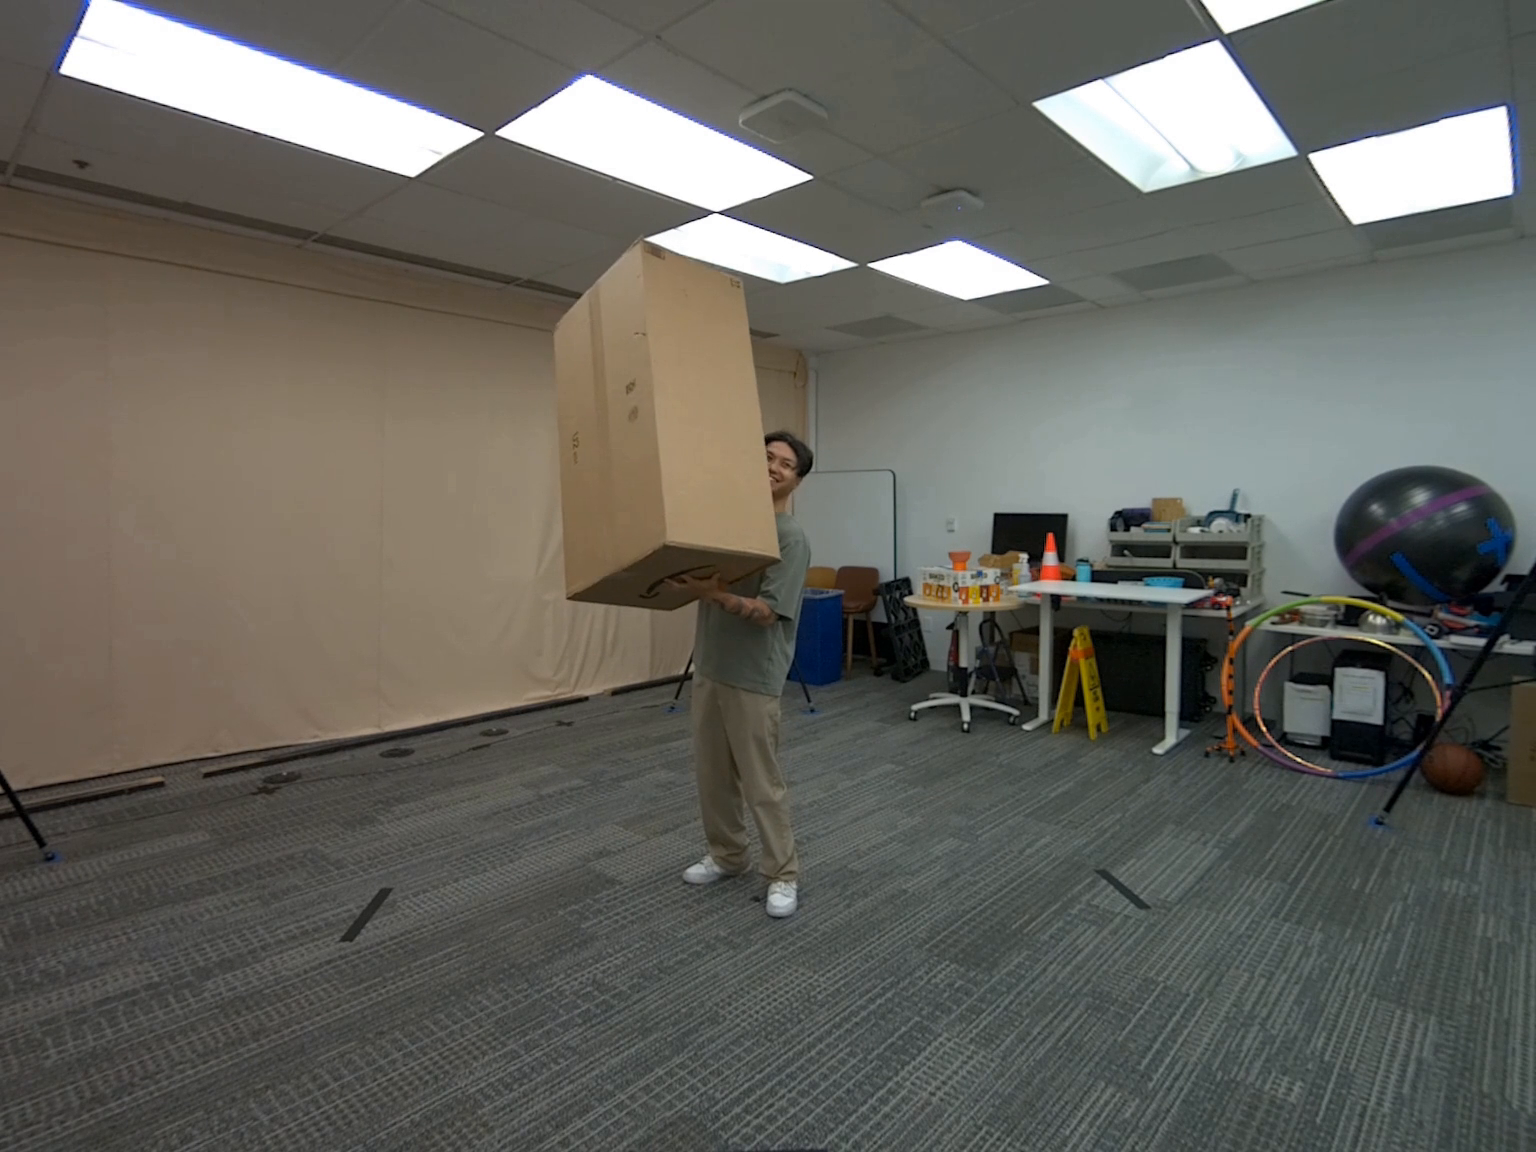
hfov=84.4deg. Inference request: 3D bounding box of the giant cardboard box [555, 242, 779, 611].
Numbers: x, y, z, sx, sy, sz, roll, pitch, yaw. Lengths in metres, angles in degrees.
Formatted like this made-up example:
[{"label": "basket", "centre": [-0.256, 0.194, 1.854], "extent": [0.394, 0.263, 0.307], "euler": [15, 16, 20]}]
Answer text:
[{"label": "giant cardboard box", "centre": [-0.357, -0.458, 2.788], "extent": [0.412, 1.040, 0.589], "euler": [9, -24, -40]}]
